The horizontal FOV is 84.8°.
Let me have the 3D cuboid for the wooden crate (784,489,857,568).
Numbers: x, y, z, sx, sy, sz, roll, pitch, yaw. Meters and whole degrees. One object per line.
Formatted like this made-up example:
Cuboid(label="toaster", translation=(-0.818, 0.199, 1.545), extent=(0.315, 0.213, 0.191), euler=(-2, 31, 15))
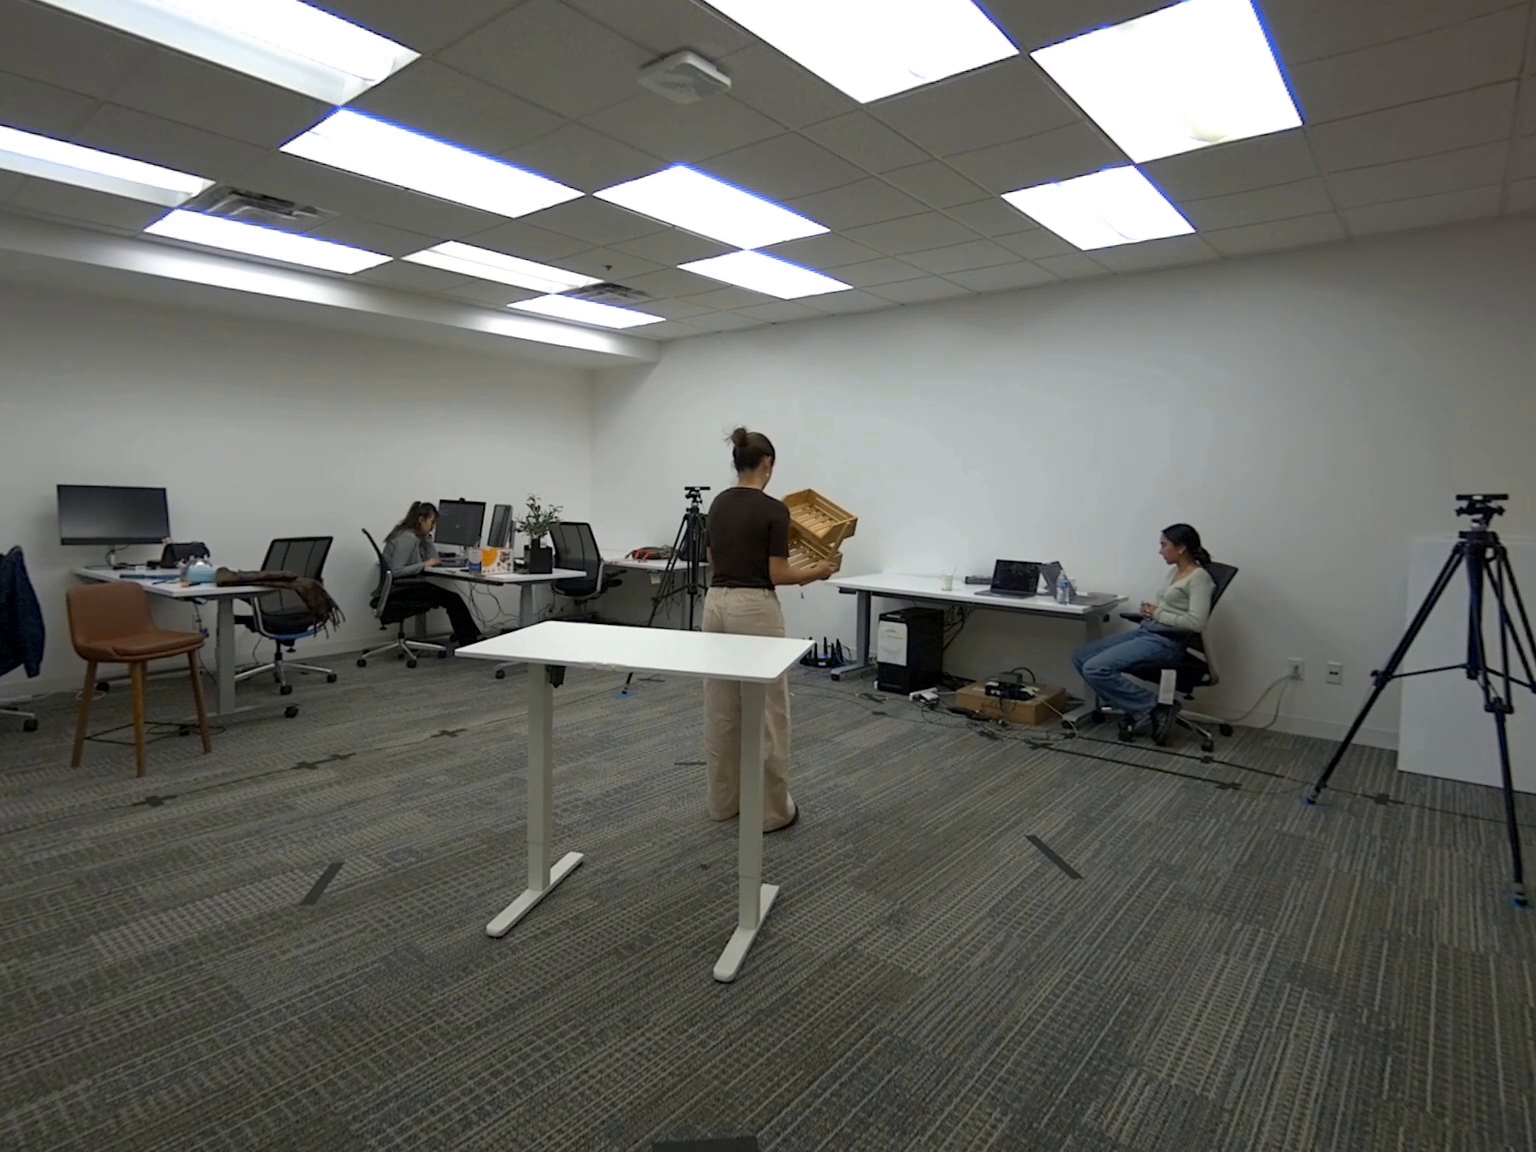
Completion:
Cuboid(label="wooden crate", translation=(0.149, -0.182, 3.685), extent=(0.296, 0.267, 0.338), euler=(-19, 41, -36))
